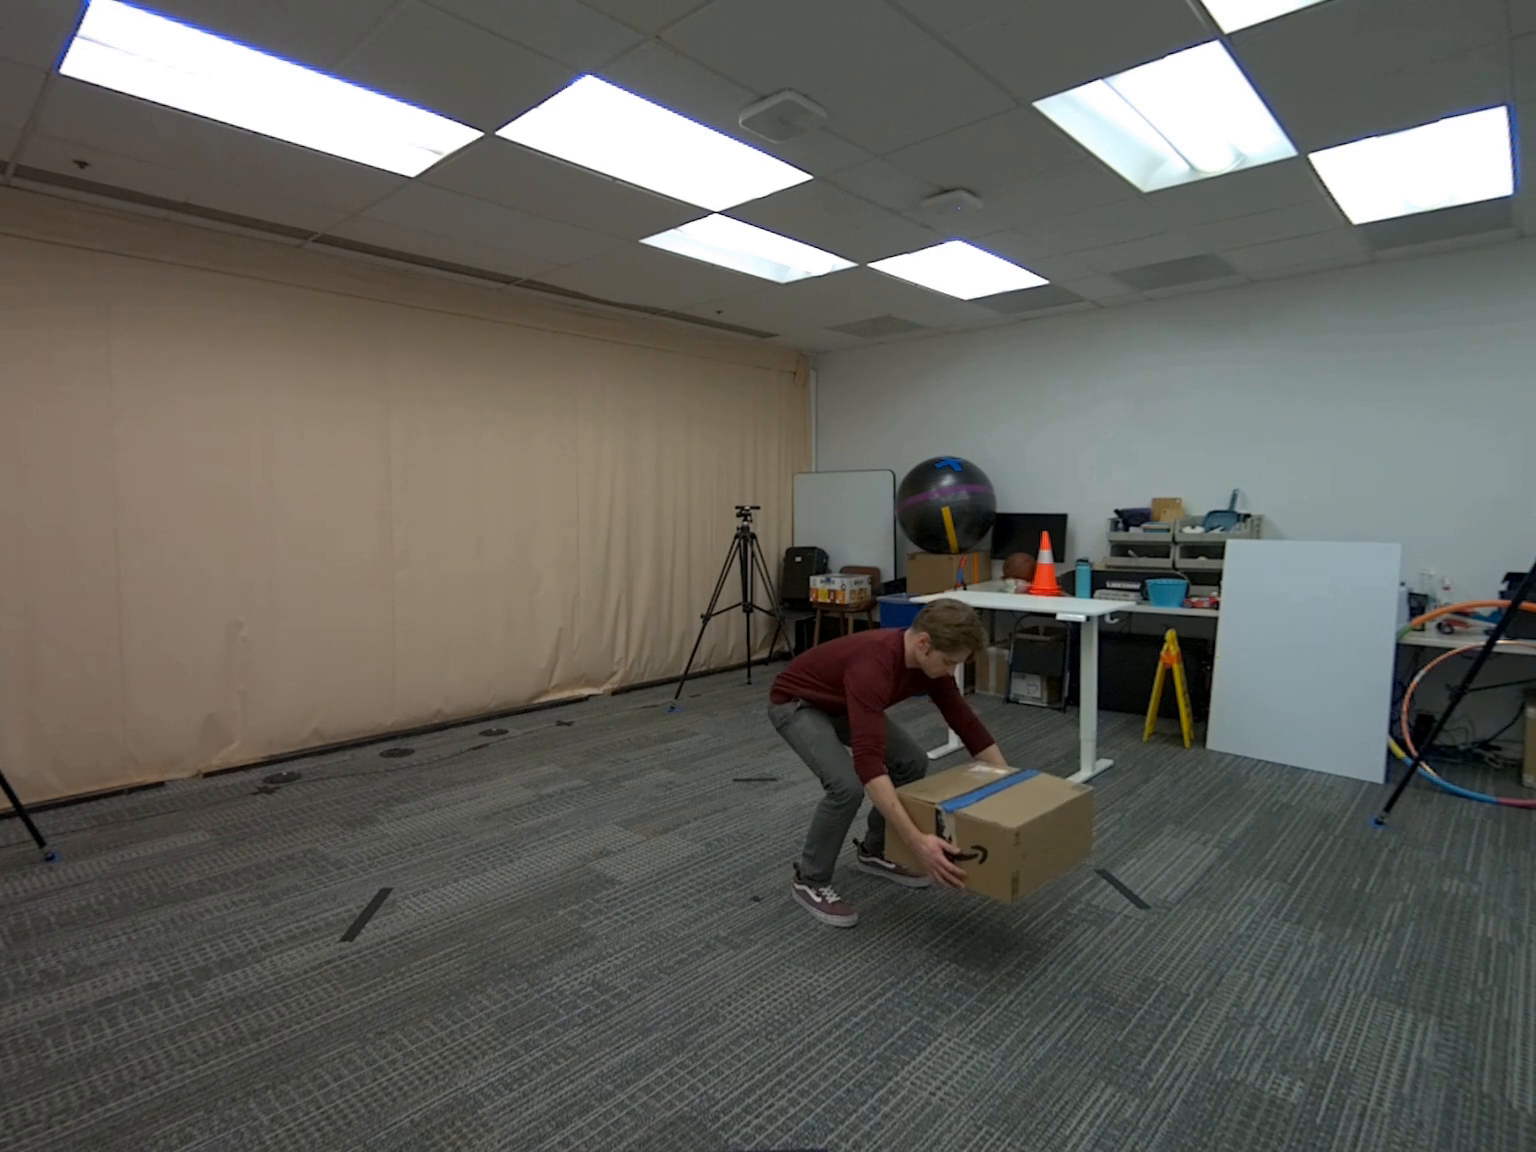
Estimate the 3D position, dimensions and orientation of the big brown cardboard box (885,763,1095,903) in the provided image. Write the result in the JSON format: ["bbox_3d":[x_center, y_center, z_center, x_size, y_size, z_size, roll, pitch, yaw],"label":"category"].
[{"bbox_3d":[0.714,0.771,2.654,0.431,0.233,0.571,4,5,43],"label":"big brown cardboard box"}]
